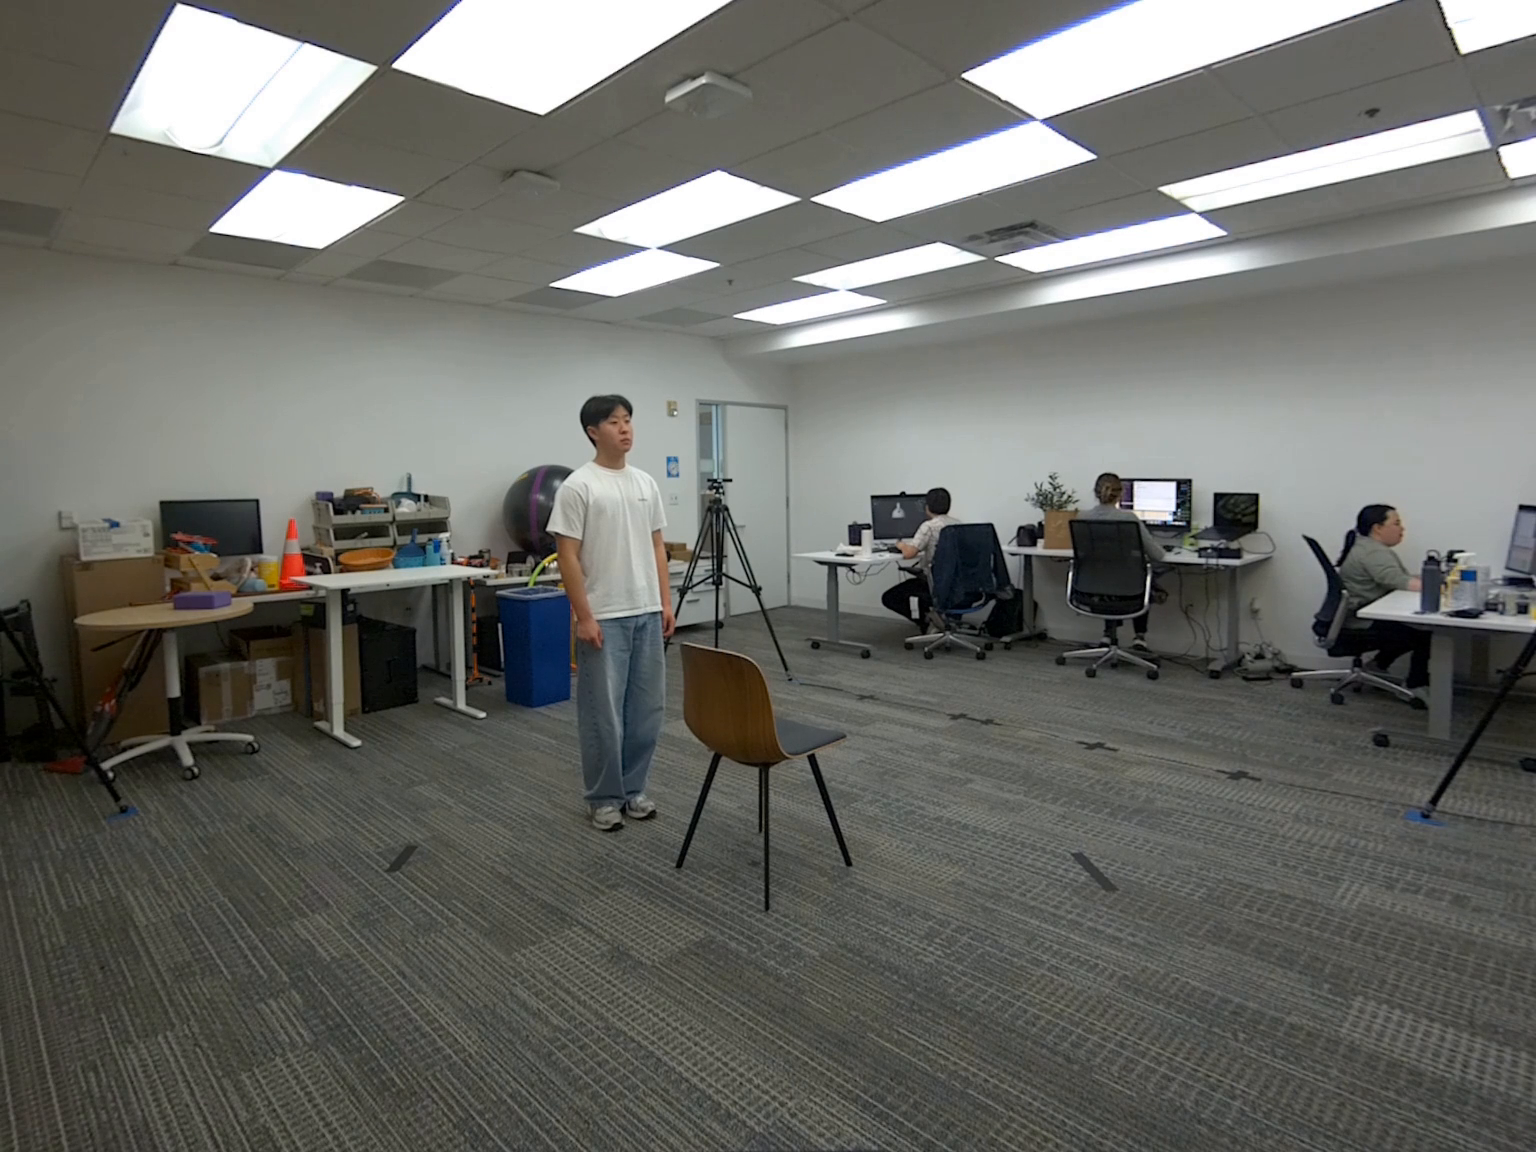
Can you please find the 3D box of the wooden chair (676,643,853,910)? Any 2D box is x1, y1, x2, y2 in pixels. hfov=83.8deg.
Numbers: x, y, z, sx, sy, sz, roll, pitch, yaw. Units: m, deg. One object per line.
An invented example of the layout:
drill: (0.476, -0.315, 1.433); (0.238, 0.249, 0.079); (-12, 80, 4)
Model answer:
wooden chair: (-0.013, 0.623, 3.048); (0.493, 0.871, 0.511); (3, 10, 44)
